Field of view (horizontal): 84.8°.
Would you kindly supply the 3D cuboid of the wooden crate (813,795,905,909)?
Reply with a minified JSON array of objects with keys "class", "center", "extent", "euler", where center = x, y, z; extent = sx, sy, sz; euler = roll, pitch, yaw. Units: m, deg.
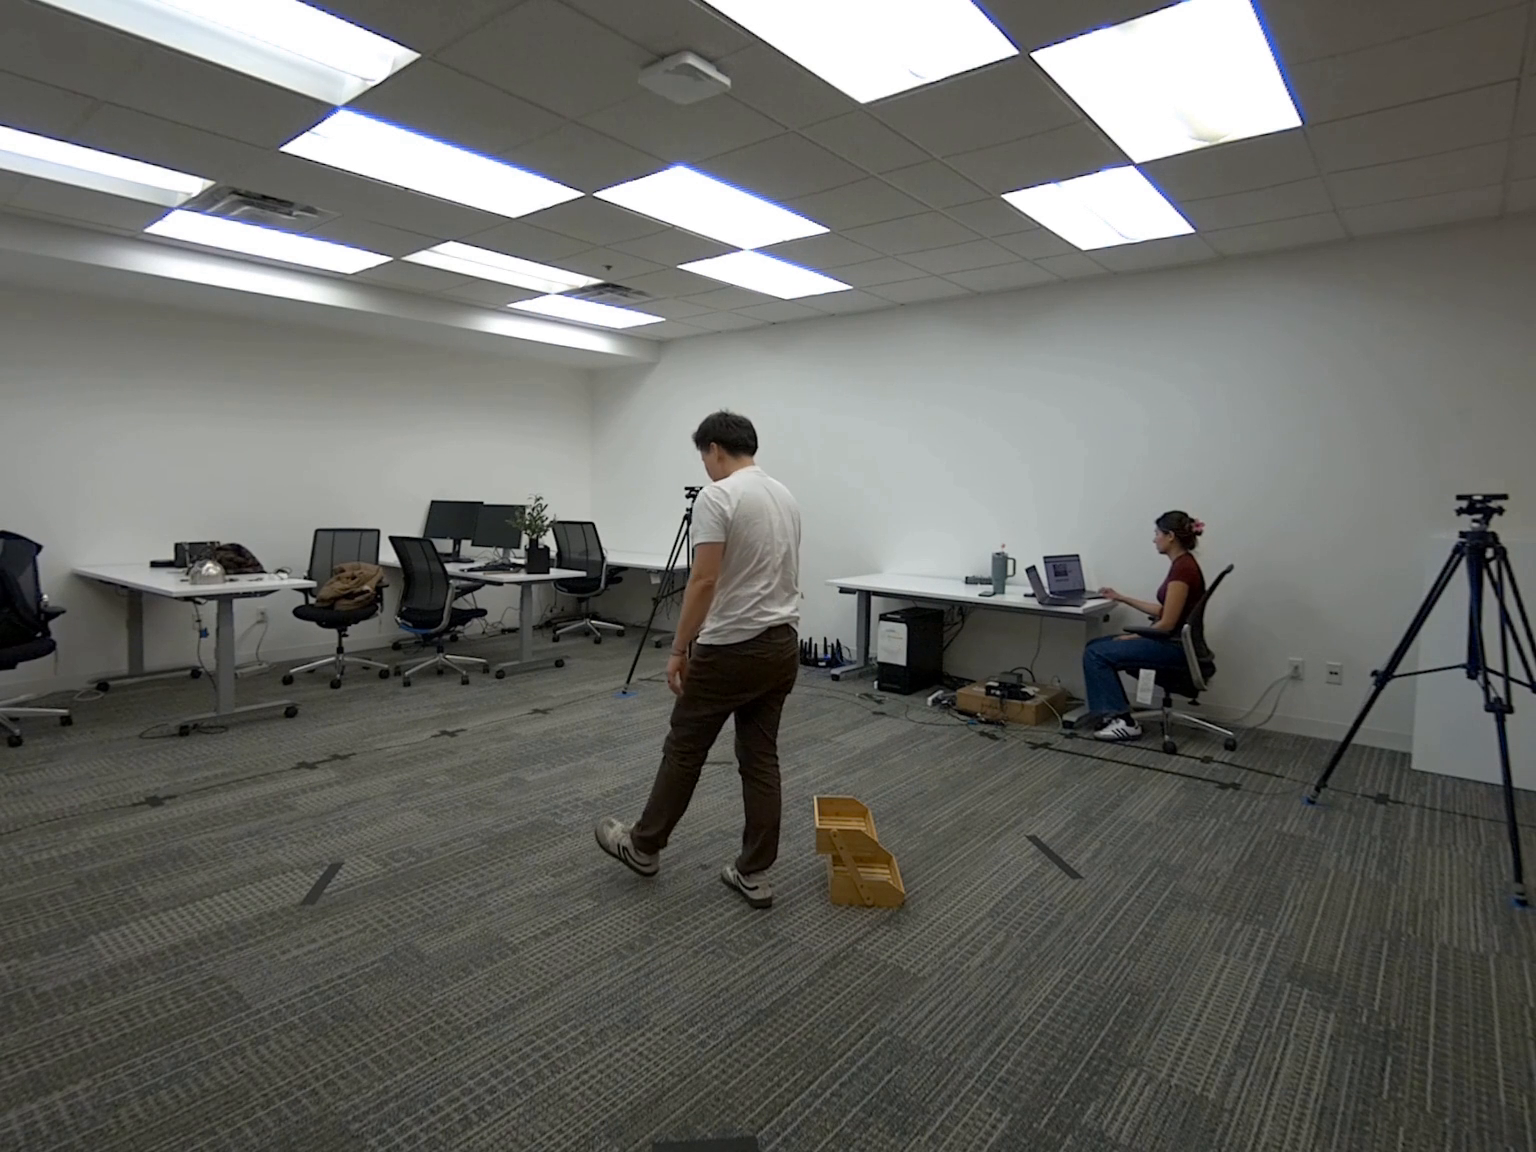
[{"class":"wooden crate","center":[0.310,0.955,2.990],"extent":[0.303,0.272,0.324],"euler":[0,4,3]}]
